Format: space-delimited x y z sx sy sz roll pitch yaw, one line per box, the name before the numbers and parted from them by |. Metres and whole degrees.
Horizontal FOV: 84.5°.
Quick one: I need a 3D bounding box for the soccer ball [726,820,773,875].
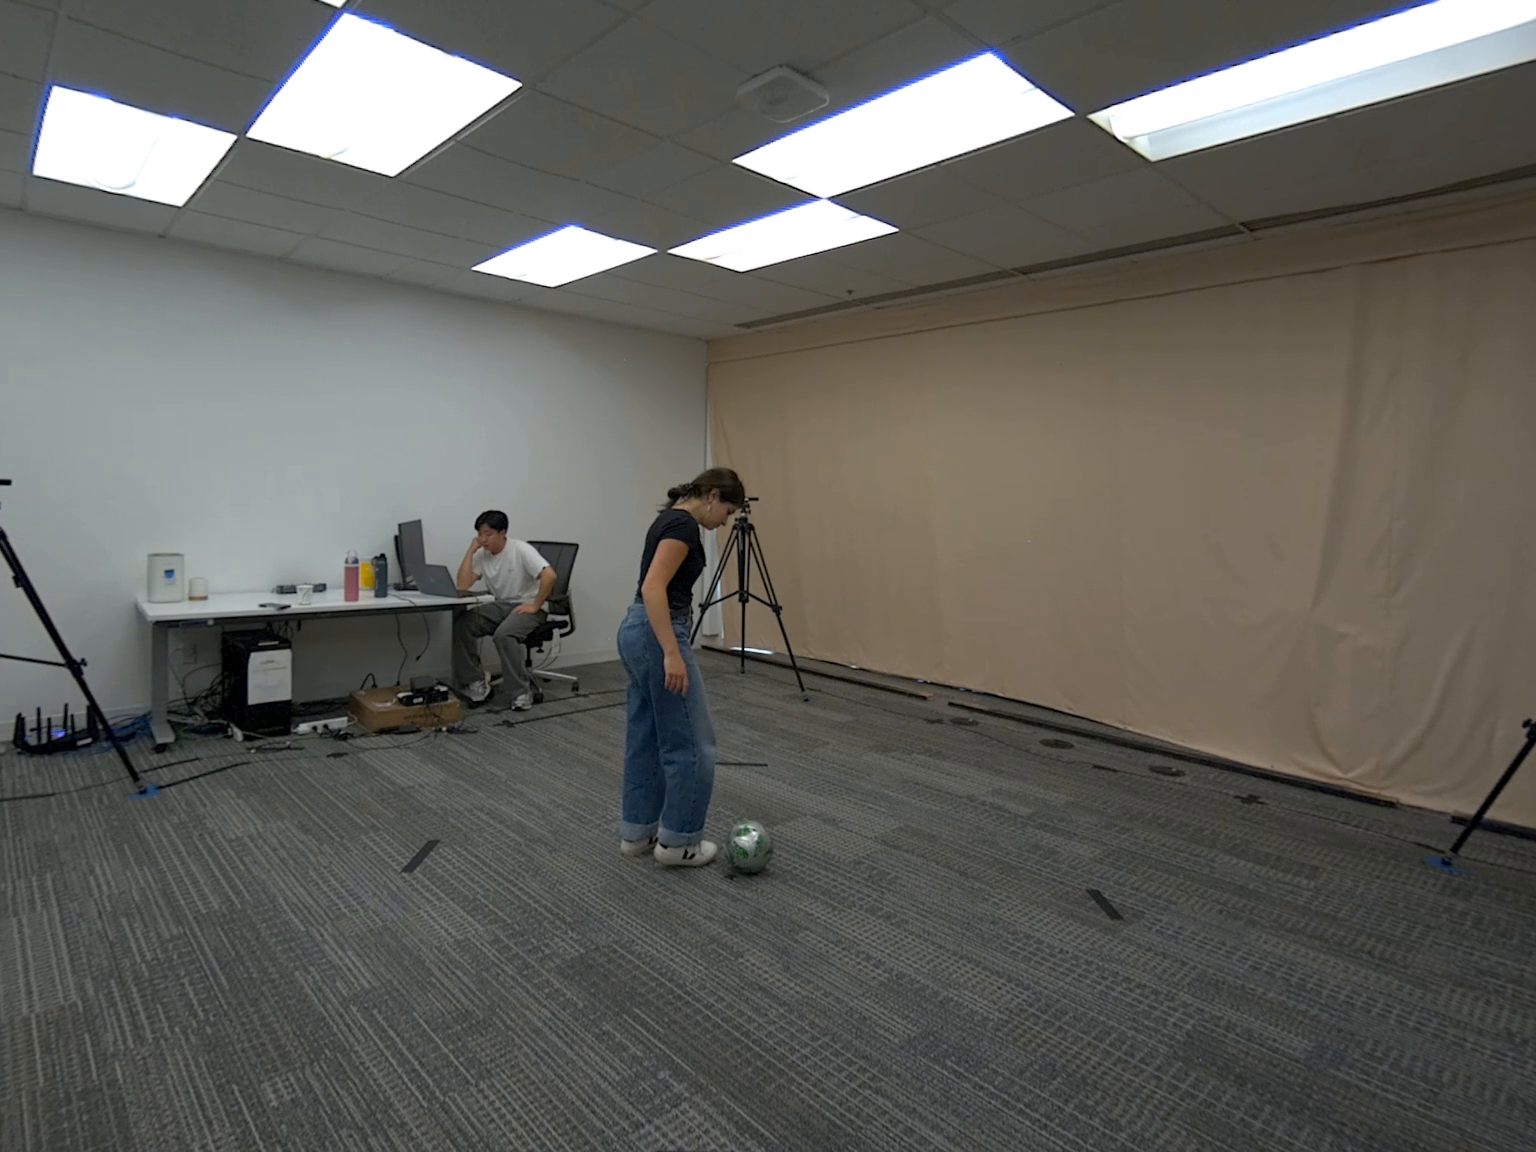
soccer ball | -0.081 1.014 3.135 0.187 0.187 0.188 1 4 -1
